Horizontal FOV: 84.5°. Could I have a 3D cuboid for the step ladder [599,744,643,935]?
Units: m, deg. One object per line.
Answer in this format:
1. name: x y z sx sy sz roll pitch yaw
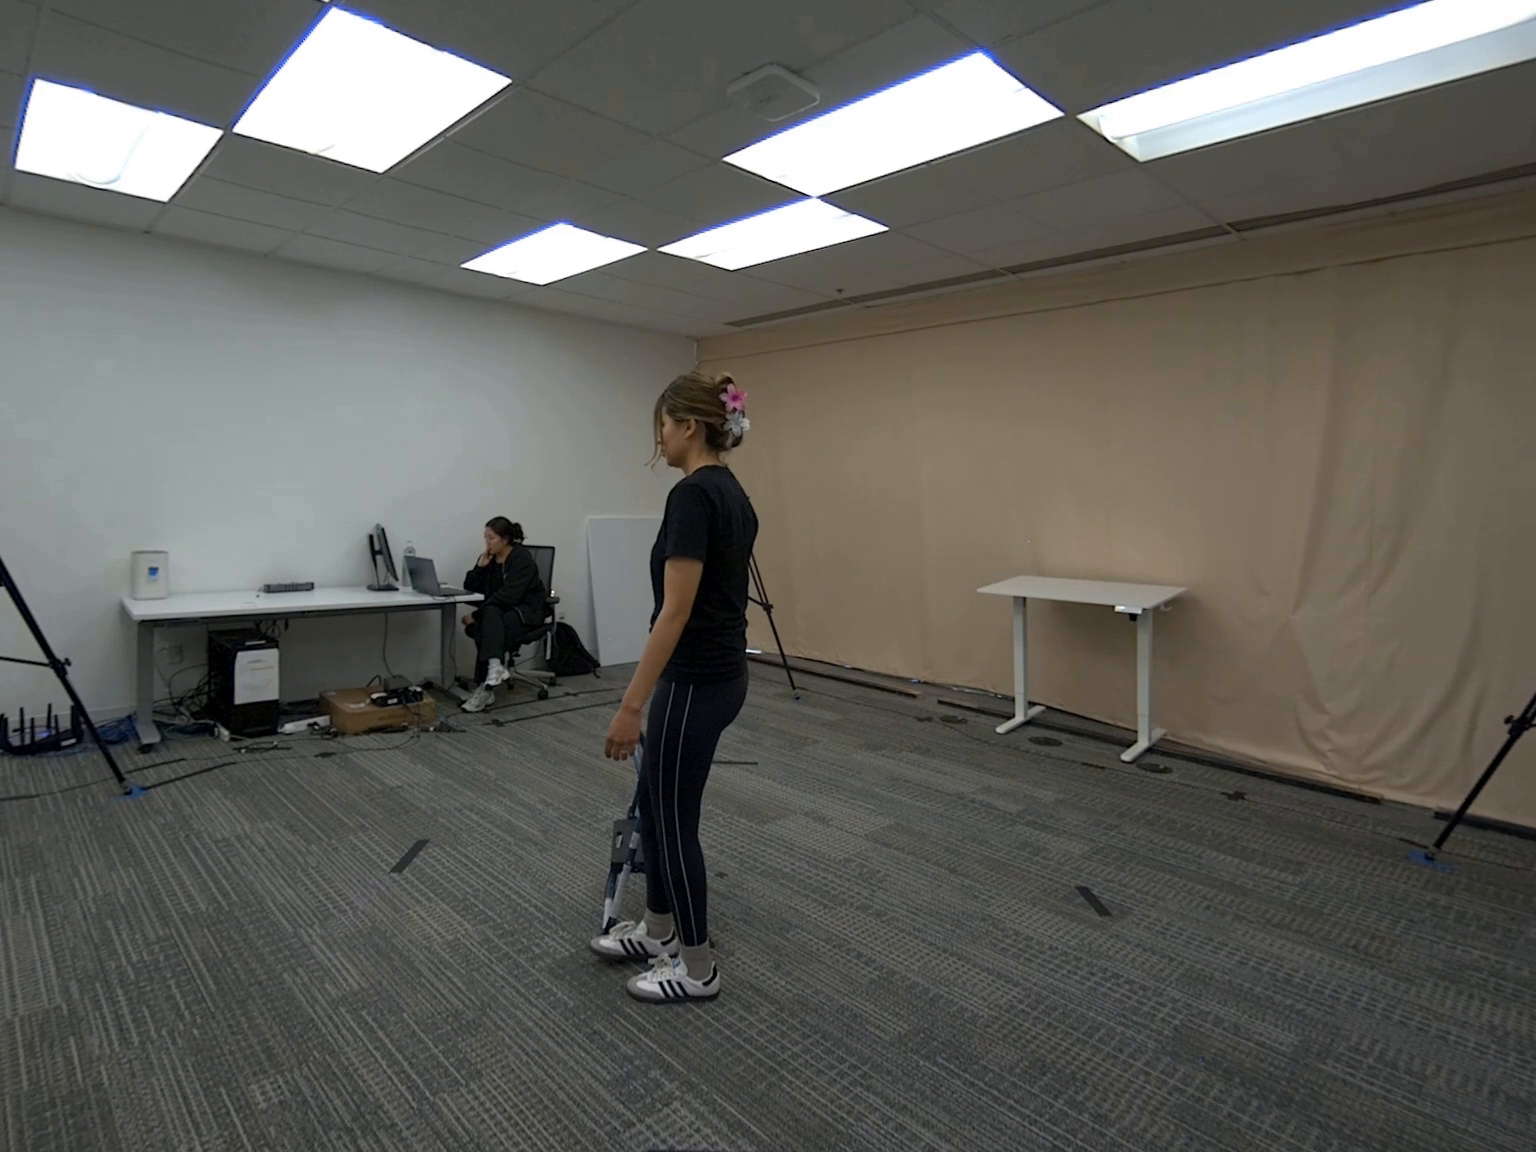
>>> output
1. step ladder: -0.371 0.829 2.776 0.347 0.604 0.434 1 4 -7
